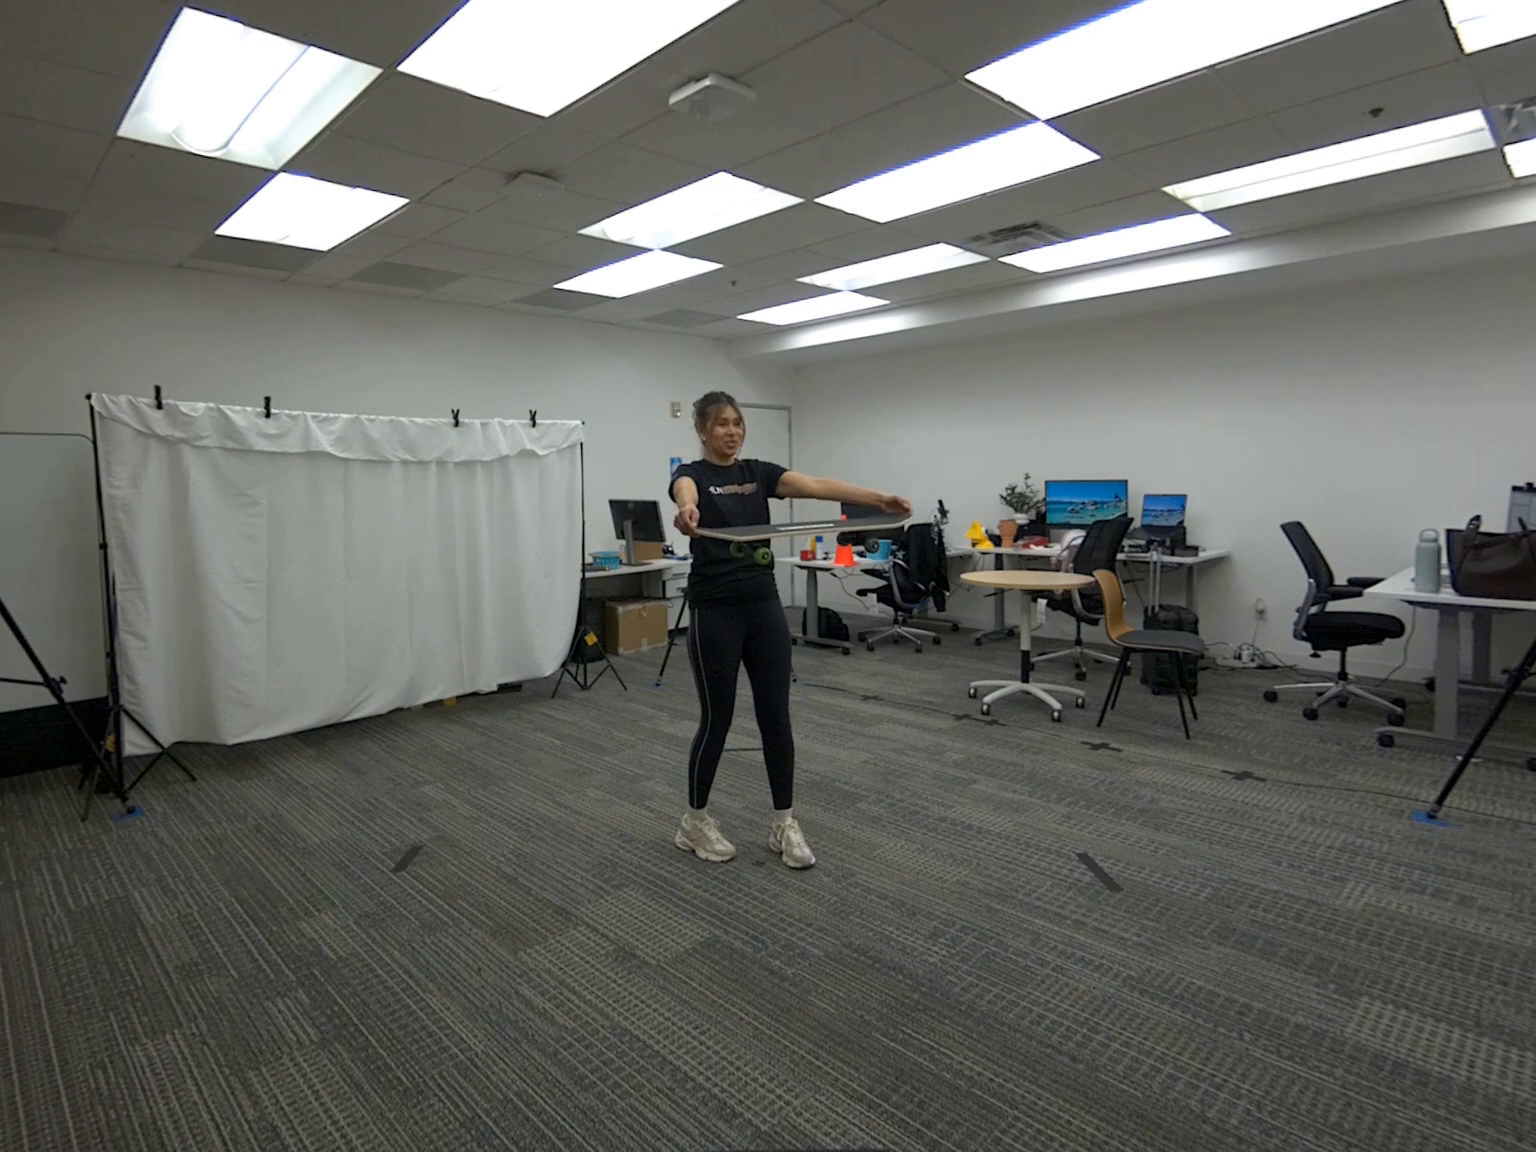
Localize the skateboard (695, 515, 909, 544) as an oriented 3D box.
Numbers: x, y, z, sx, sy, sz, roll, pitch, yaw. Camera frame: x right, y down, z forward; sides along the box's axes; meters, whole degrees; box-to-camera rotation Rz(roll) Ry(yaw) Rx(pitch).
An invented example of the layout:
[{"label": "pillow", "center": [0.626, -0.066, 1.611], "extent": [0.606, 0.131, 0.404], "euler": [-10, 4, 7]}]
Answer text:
[{"label": "skateboard", "center": [0.131, -0.123, 2.681], "extent": [0.768, 0.109, 0.199], "euler": [-7, 12, -28]}]
